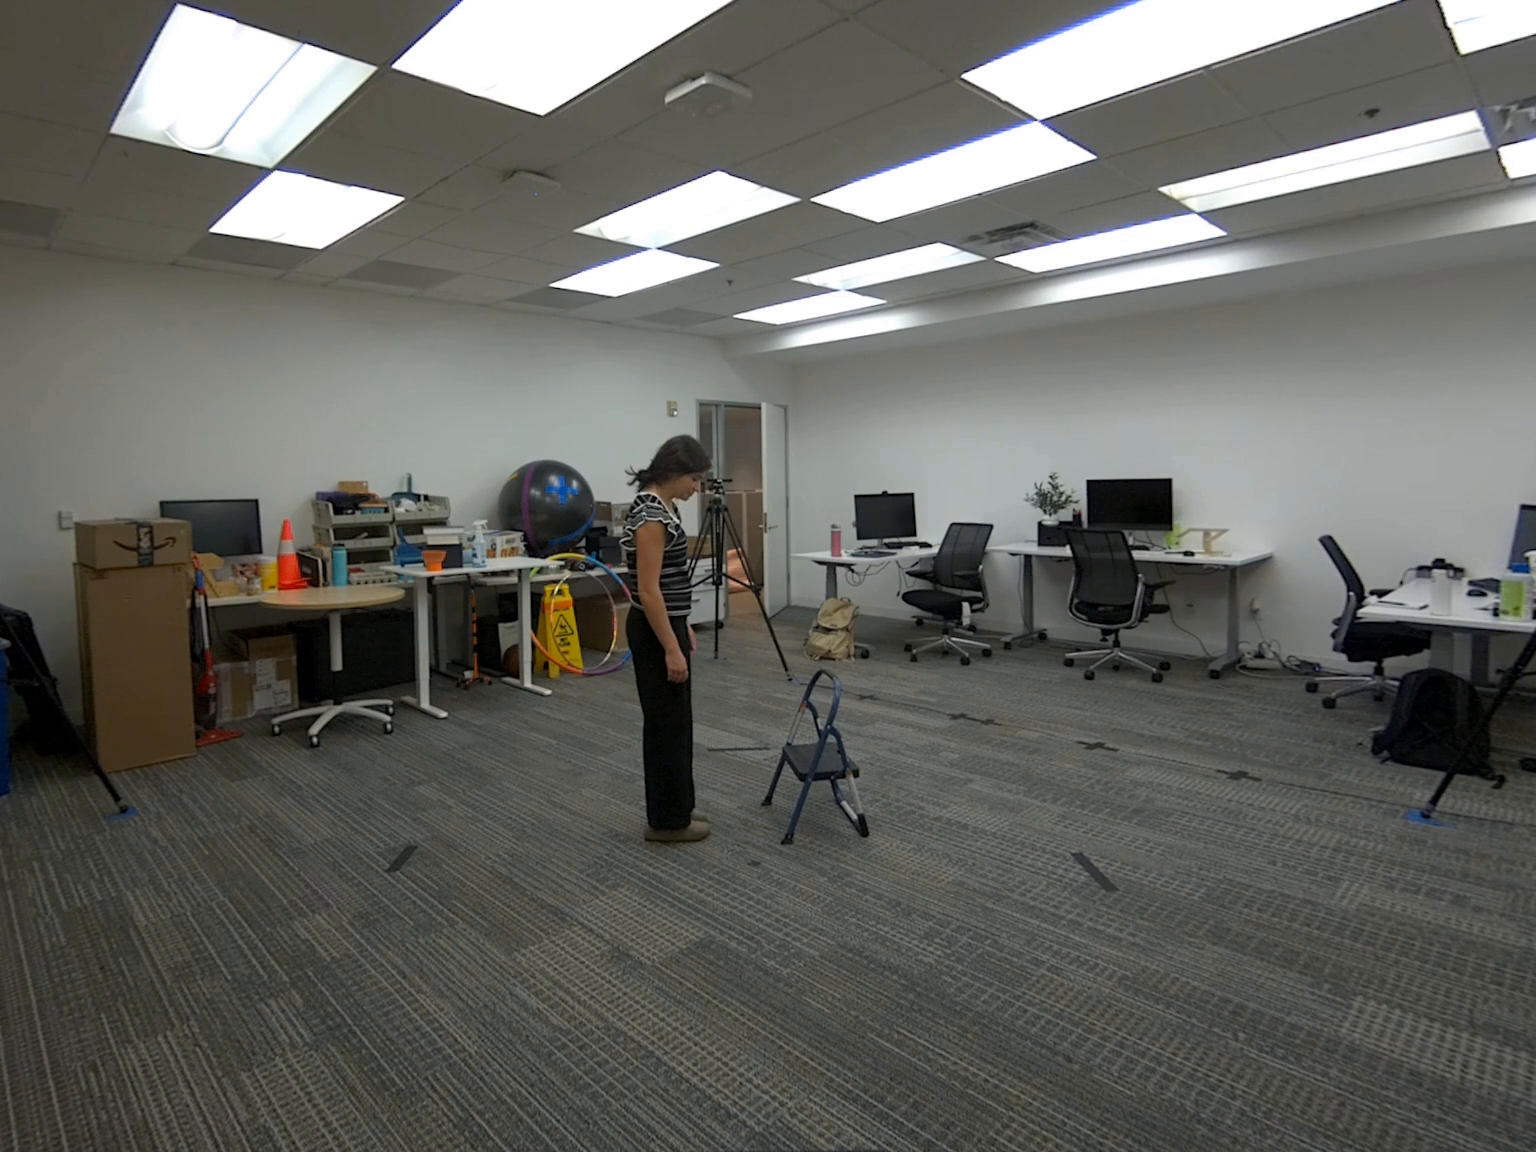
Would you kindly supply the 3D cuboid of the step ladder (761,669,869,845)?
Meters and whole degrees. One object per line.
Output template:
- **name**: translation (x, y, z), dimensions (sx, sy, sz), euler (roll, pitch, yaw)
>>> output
- **step ladder**: translation (0.184, 0.699, 3.481), dimensions (0.346, 0.604, 0.437), euler (-2, 5, -11)
